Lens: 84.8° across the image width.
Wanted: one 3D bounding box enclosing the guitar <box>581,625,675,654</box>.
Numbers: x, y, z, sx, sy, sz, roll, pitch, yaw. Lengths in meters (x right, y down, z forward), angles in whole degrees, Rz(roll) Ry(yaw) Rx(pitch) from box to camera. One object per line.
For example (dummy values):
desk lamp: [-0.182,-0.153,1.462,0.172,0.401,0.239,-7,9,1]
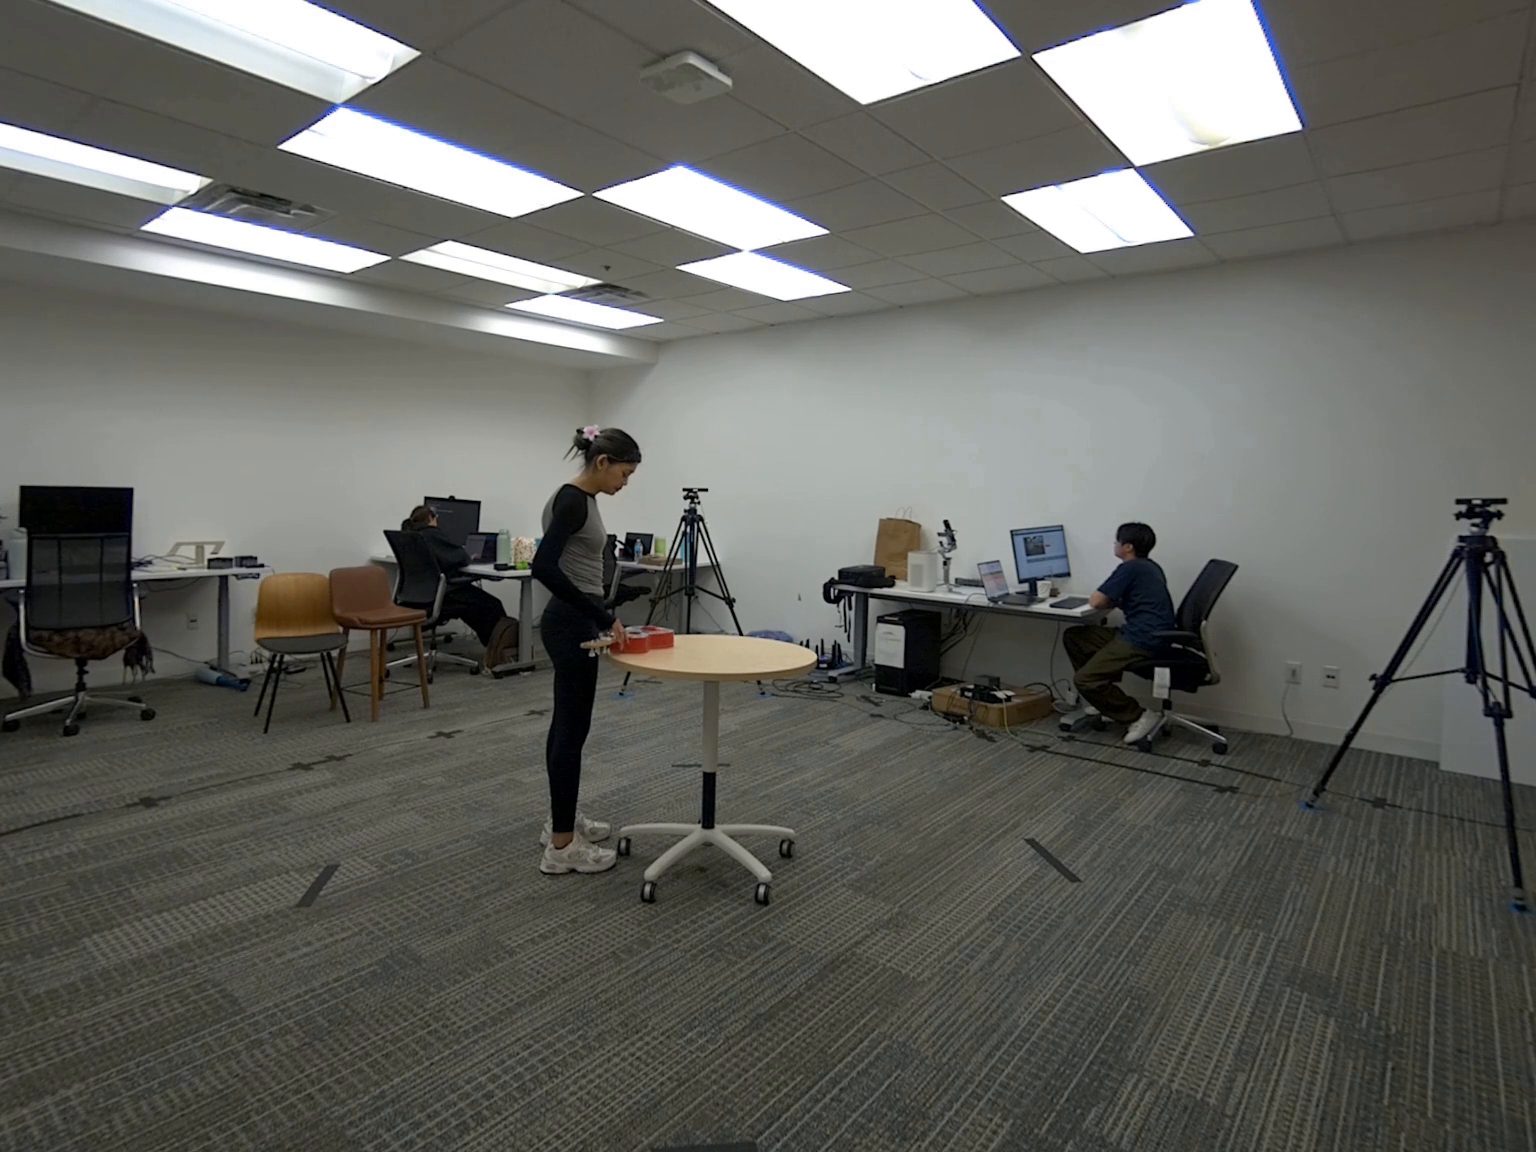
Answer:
guitar: [-0.558,0.241,3.070,0.199,0.070,0.484,6,7,33]
